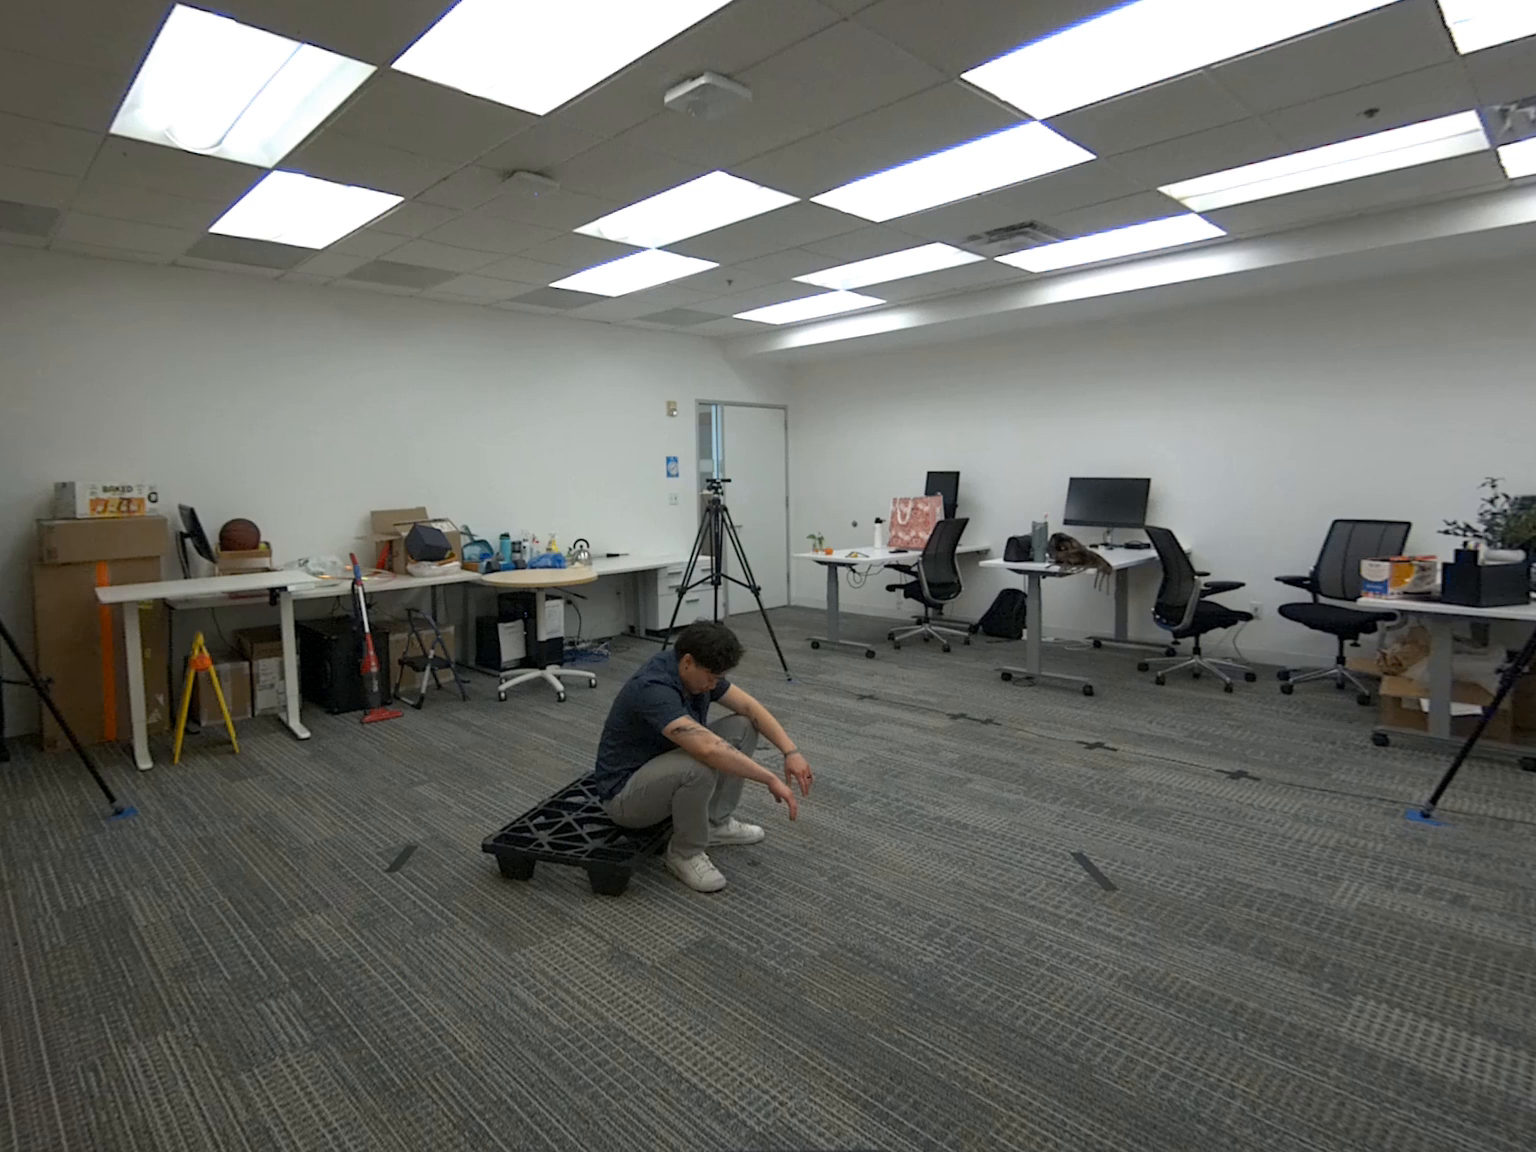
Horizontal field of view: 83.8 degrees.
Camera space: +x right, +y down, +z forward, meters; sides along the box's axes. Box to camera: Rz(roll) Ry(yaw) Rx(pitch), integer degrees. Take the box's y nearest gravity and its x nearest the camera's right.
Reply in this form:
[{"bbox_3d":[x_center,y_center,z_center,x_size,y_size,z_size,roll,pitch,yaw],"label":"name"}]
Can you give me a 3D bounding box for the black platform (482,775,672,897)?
[{"bbox_3d":[-0.609,0.967,3.292,0.616,0.142,0.794,1,7,18],"label":"black platform"}]
